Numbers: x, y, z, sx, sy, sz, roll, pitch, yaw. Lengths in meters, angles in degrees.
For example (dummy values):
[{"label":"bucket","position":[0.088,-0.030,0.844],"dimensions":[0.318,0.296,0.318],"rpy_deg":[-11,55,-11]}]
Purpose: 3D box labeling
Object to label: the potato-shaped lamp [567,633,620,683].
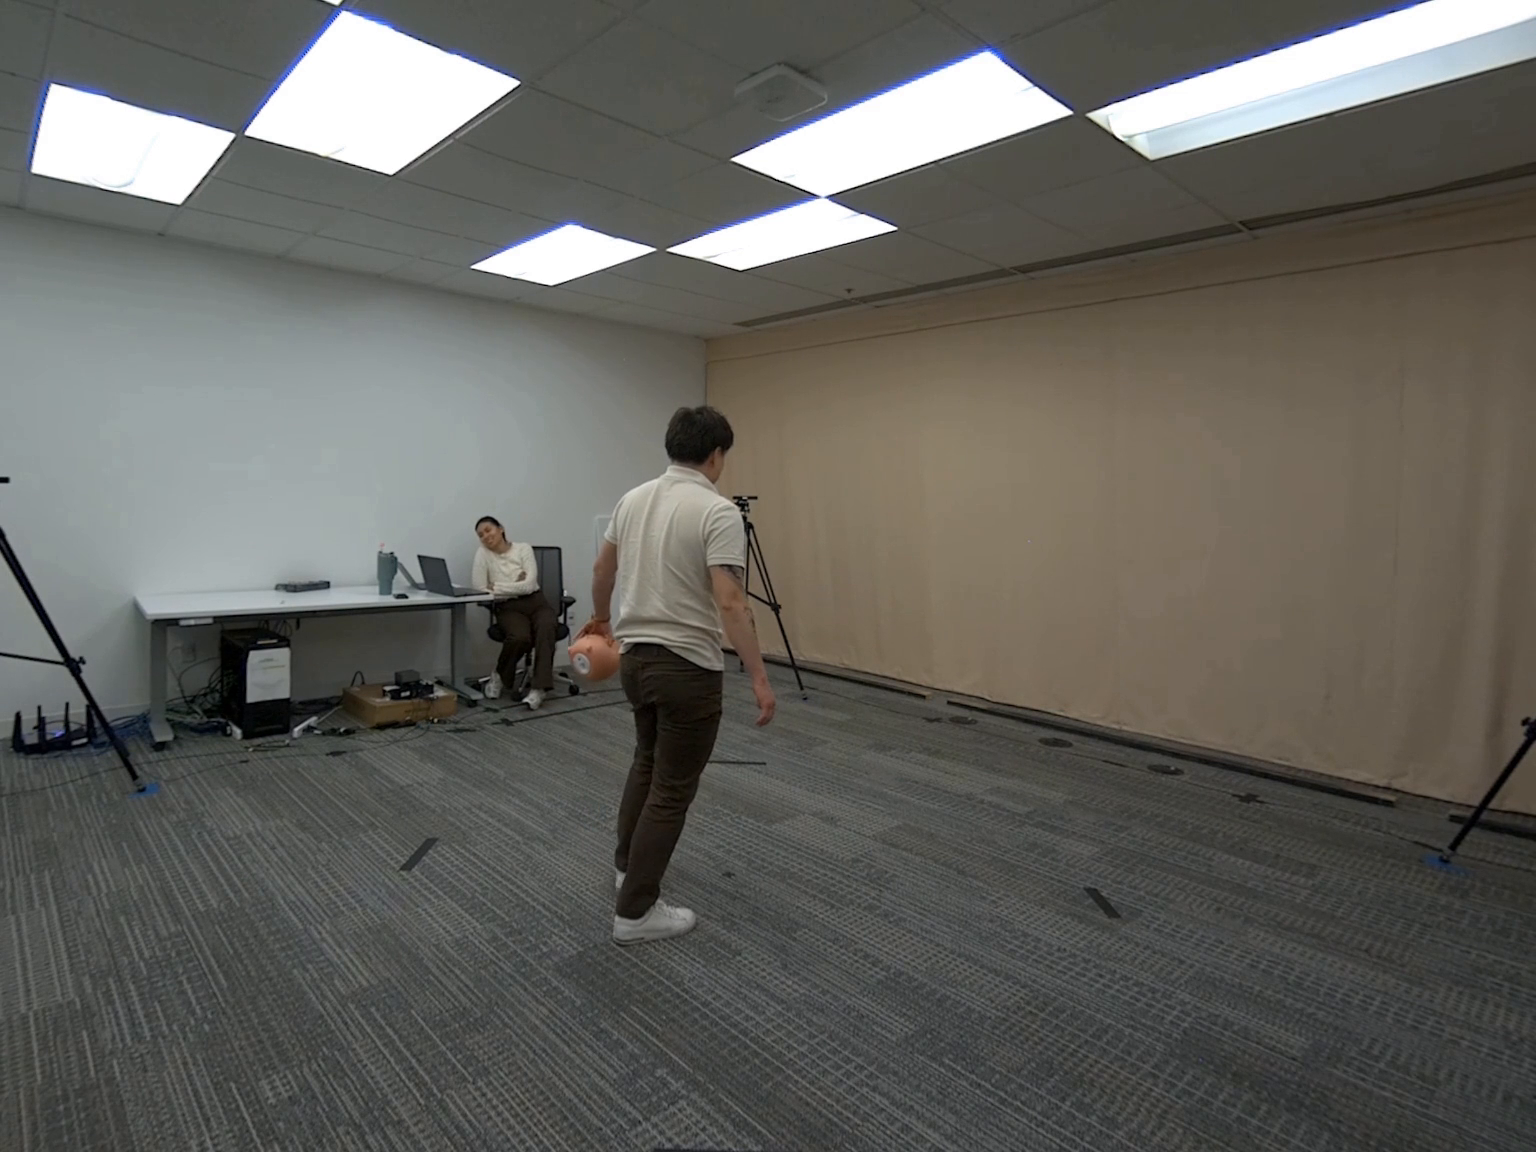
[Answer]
[{"label":"potato-shaped lamp","position":[-0.620,0.289,3.062],"dimensions":[0.167,0.169,0.197],"rpy_deg":[-11,14,33]}]
